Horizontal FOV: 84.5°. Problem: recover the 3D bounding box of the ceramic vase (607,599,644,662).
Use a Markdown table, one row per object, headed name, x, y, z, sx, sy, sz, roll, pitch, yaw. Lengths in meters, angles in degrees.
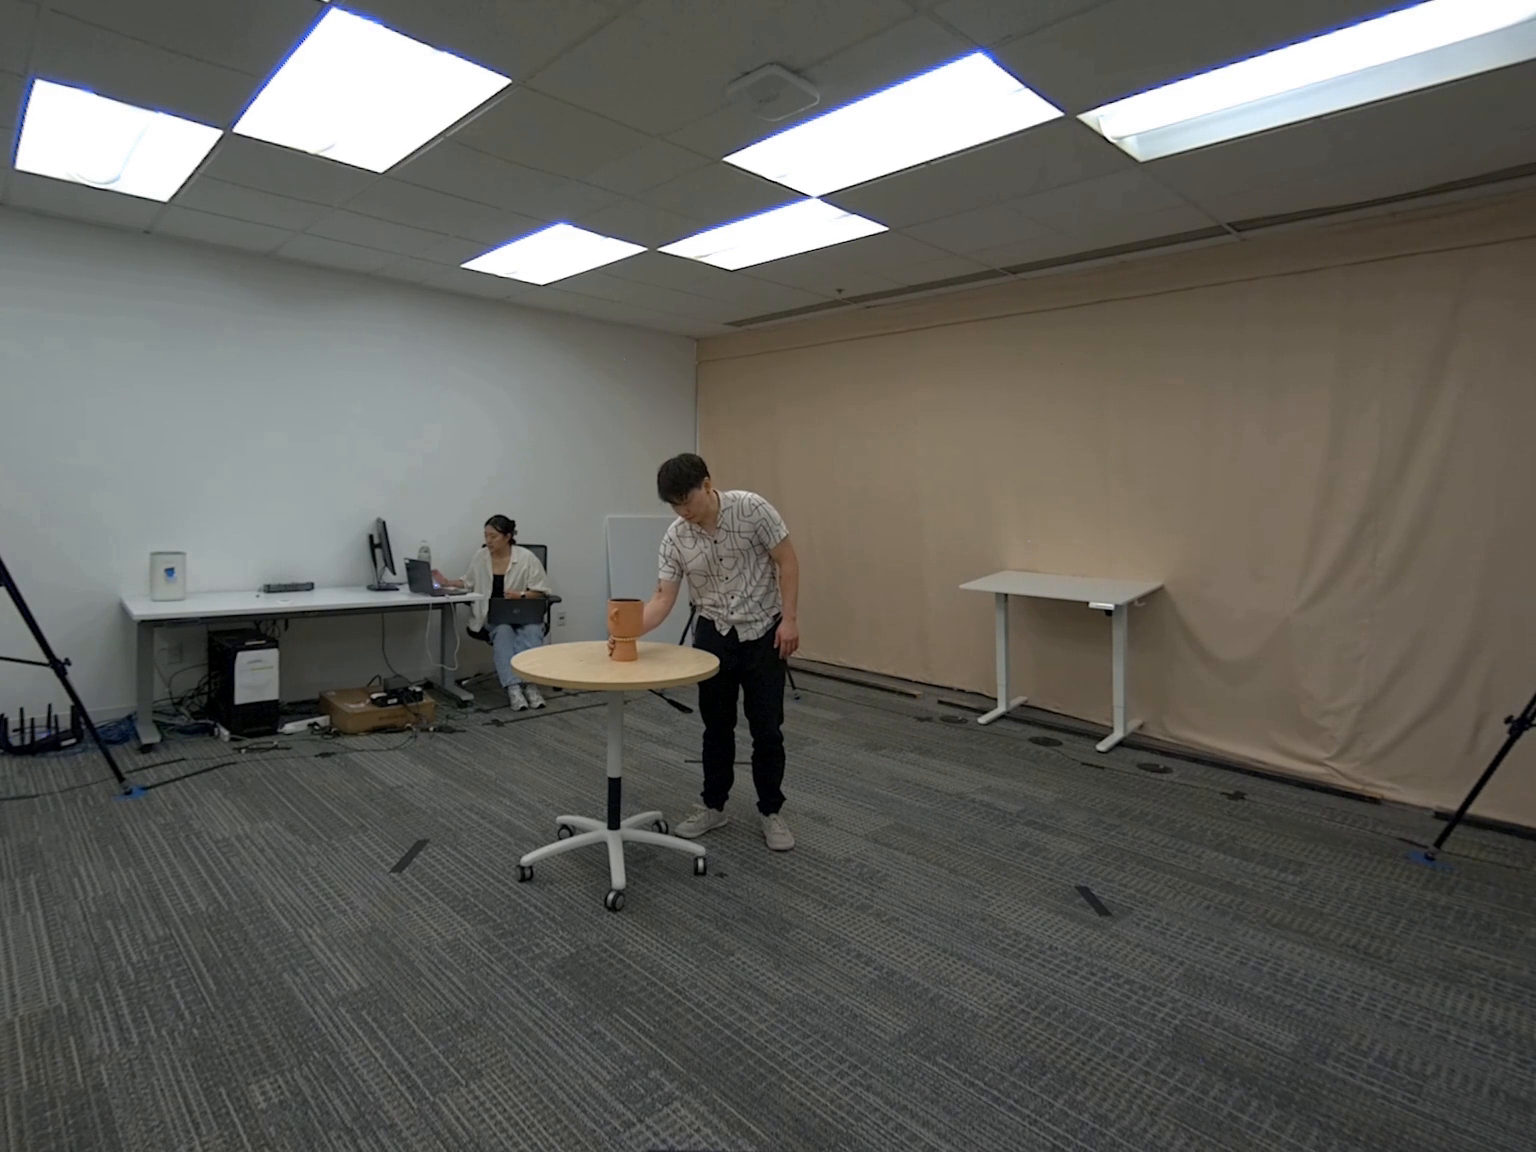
| name | x | y | z | sx | sy | sz | roll | pitch | yaw |
| --- | --- | --- | --- | --- | --- | --- | --- | --- | --- |
| ceramic vase | -0.542 | 0.202 | 3.123 | 0.156 | 0.219 | 0.137 | -1 | 4 | -28 |
